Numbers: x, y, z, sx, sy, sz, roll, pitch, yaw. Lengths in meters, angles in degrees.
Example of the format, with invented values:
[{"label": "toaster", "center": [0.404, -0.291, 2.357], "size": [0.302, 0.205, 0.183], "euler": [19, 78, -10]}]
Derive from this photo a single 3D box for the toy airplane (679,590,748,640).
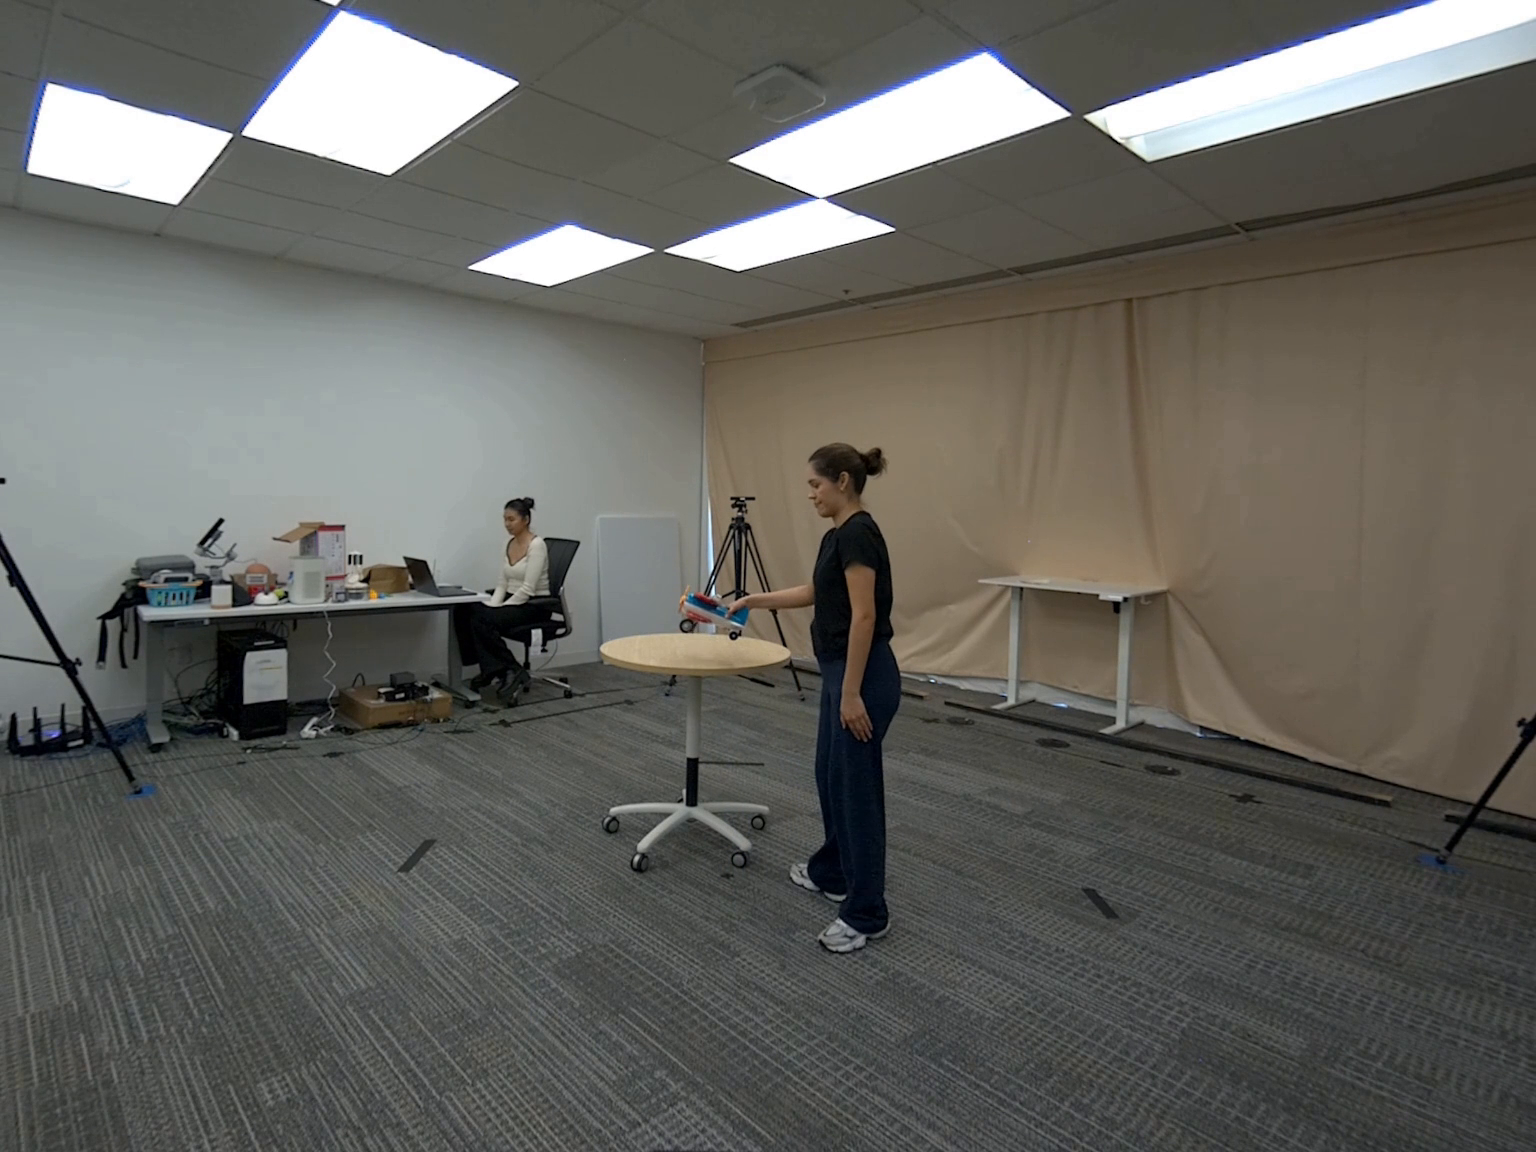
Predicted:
[{"label": "toy airplane", "center": [-0.213, 0.155, 3.136], "size": [0.253, 0.157, 0.256], "euler": [10, -4, -27]}]
